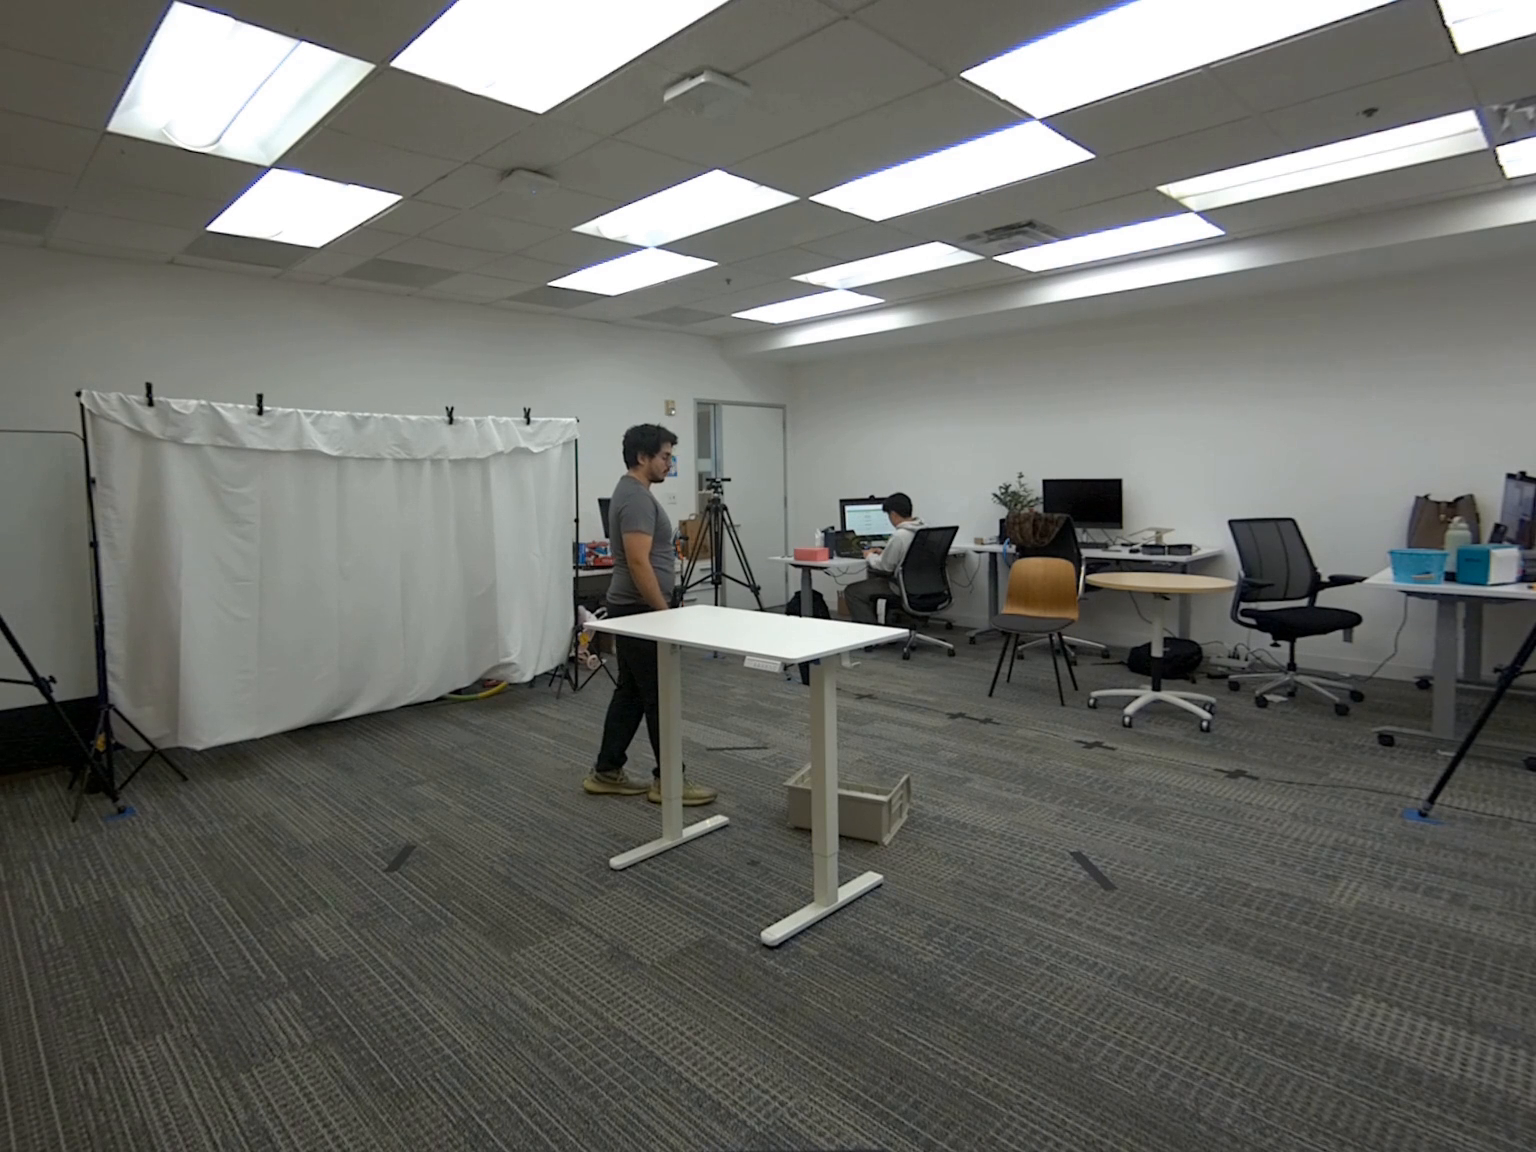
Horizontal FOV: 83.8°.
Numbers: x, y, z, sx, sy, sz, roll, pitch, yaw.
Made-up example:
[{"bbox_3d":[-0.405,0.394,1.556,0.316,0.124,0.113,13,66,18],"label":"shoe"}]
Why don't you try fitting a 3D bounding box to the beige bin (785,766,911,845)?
[{"bbox_3d":[0.328,0.907,3.474,0.432,0.188,0.370,2,7,25],"label":"beige bin"}]
